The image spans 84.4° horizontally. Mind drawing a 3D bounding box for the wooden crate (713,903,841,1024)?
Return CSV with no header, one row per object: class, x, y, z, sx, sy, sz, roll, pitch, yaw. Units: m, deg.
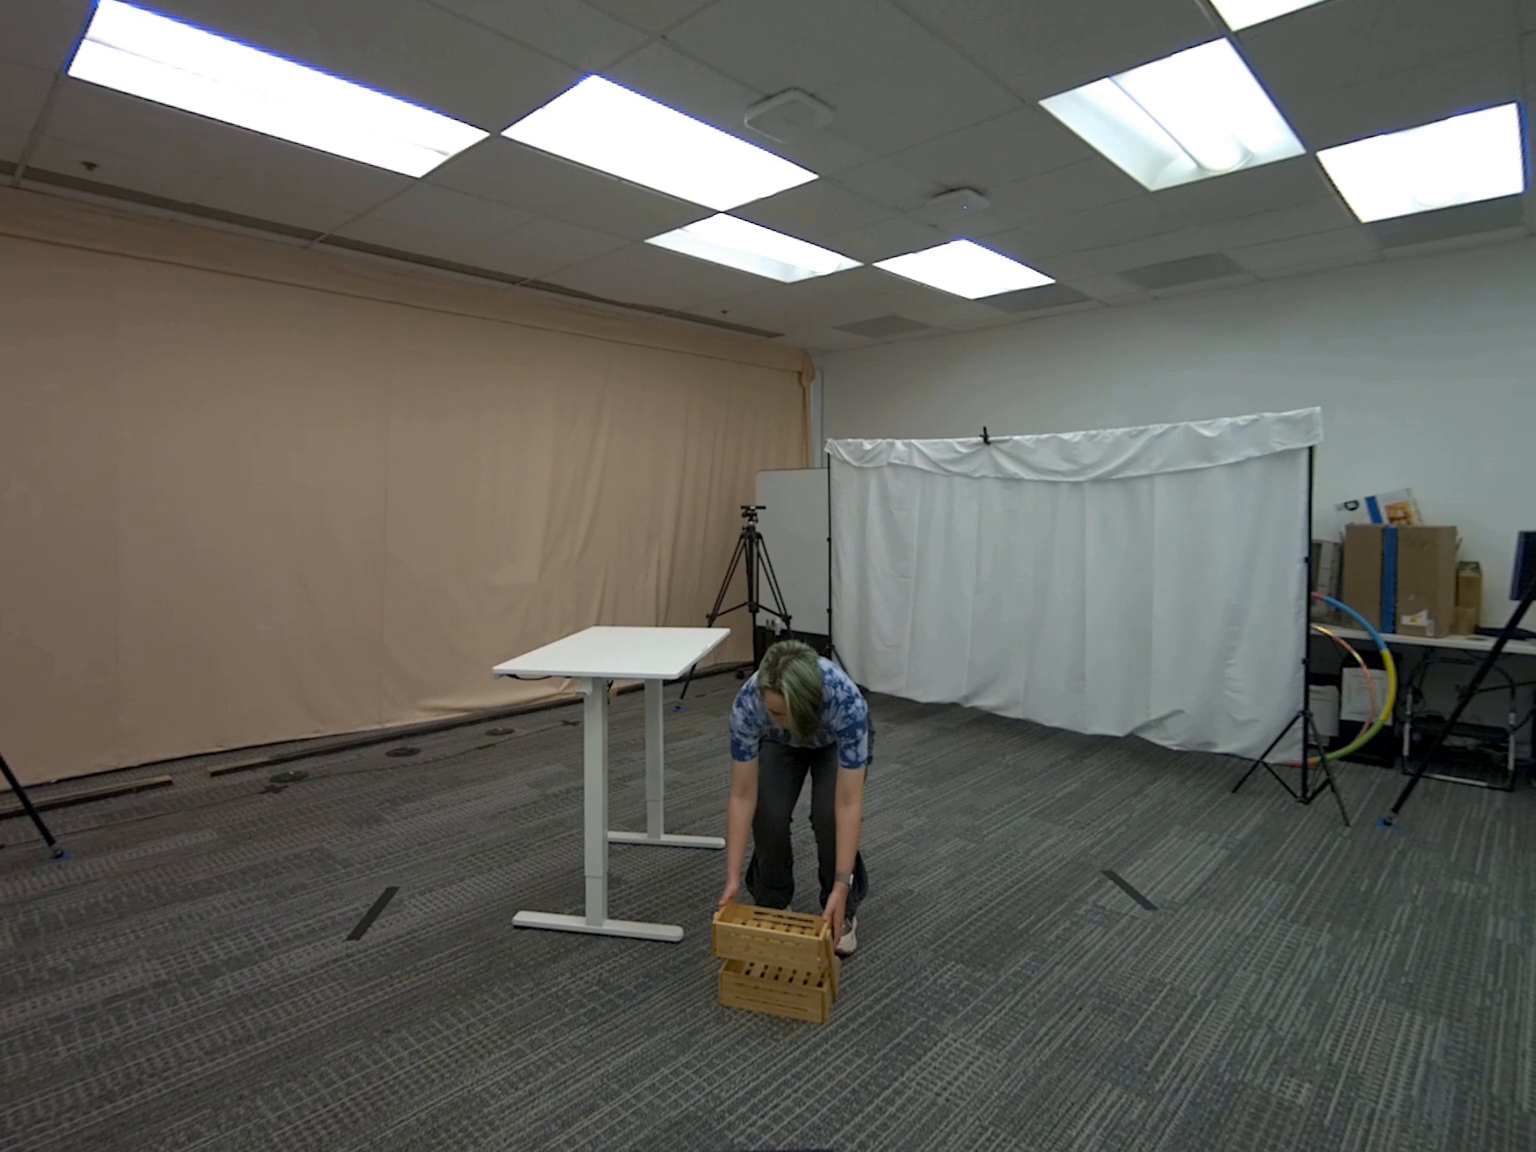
wooden crate,0.034,1.056,2.396,0.330,0.273,0.297,1,4,16
